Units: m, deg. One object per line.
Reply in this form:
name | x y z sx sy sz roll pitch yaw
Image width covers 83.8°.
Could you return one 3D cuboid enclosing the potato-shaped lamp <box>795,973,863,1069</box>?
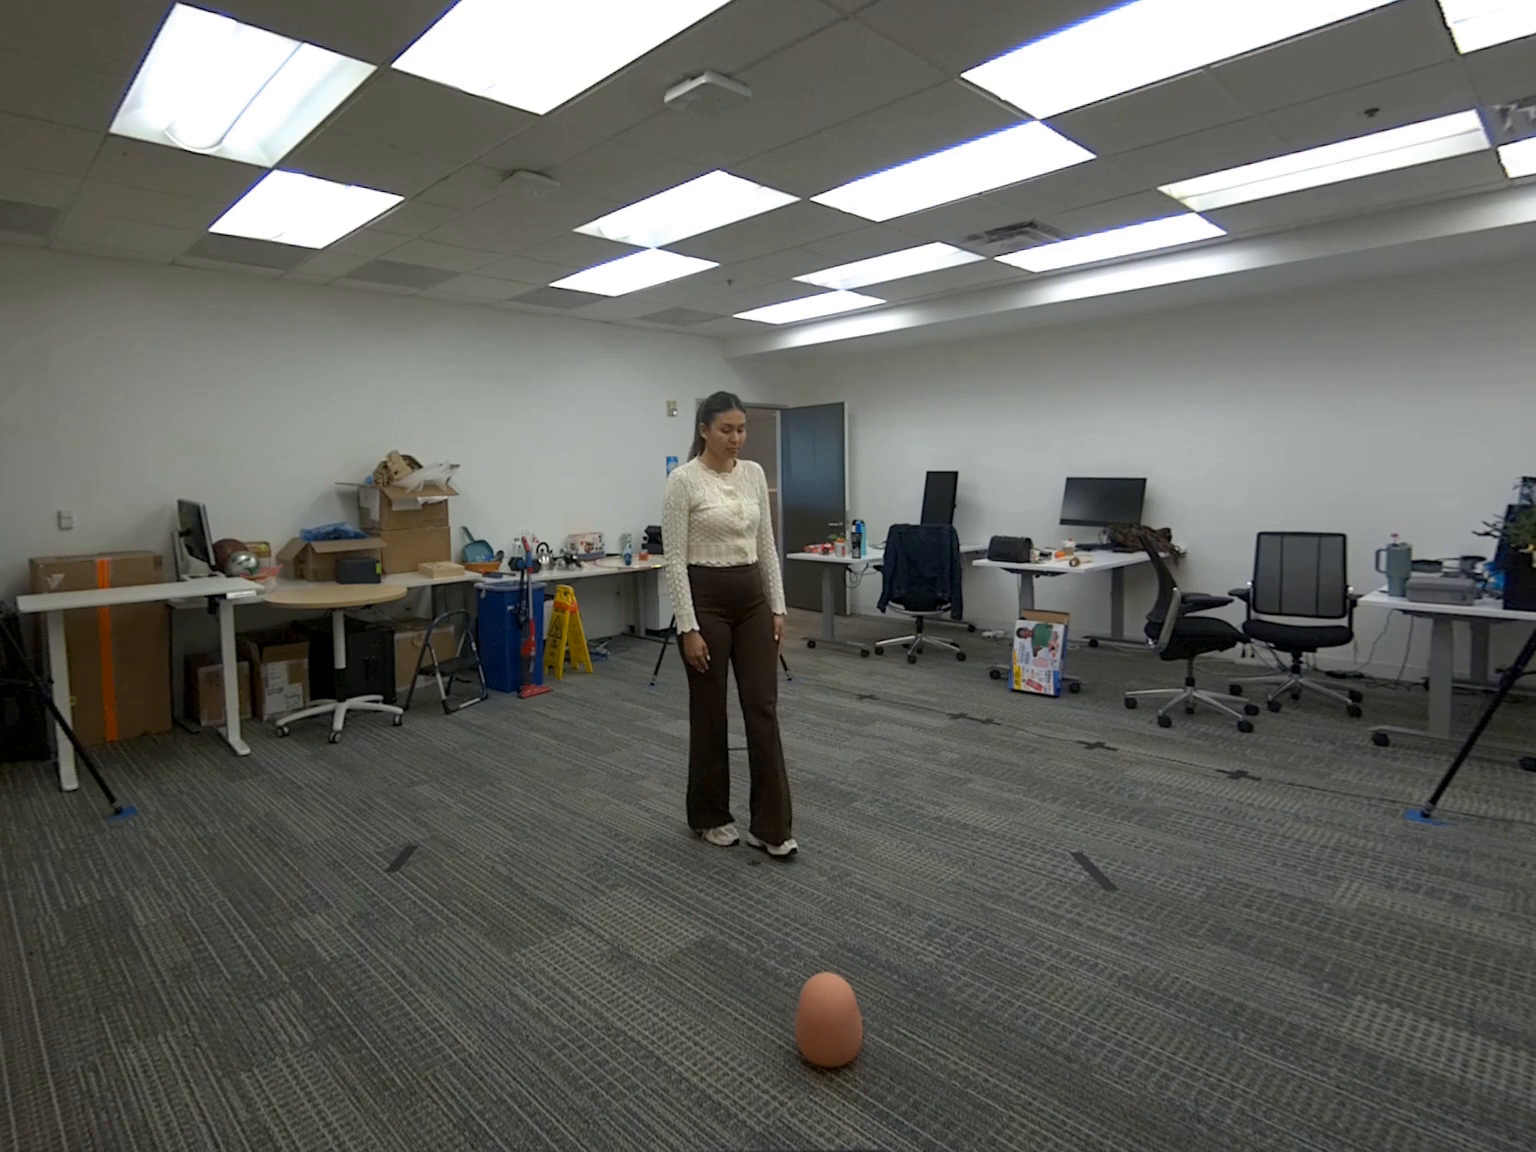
potato-shaped lamp | 0.151 1.063 2.068 0.167 0.197 0.170 -1 6 11
